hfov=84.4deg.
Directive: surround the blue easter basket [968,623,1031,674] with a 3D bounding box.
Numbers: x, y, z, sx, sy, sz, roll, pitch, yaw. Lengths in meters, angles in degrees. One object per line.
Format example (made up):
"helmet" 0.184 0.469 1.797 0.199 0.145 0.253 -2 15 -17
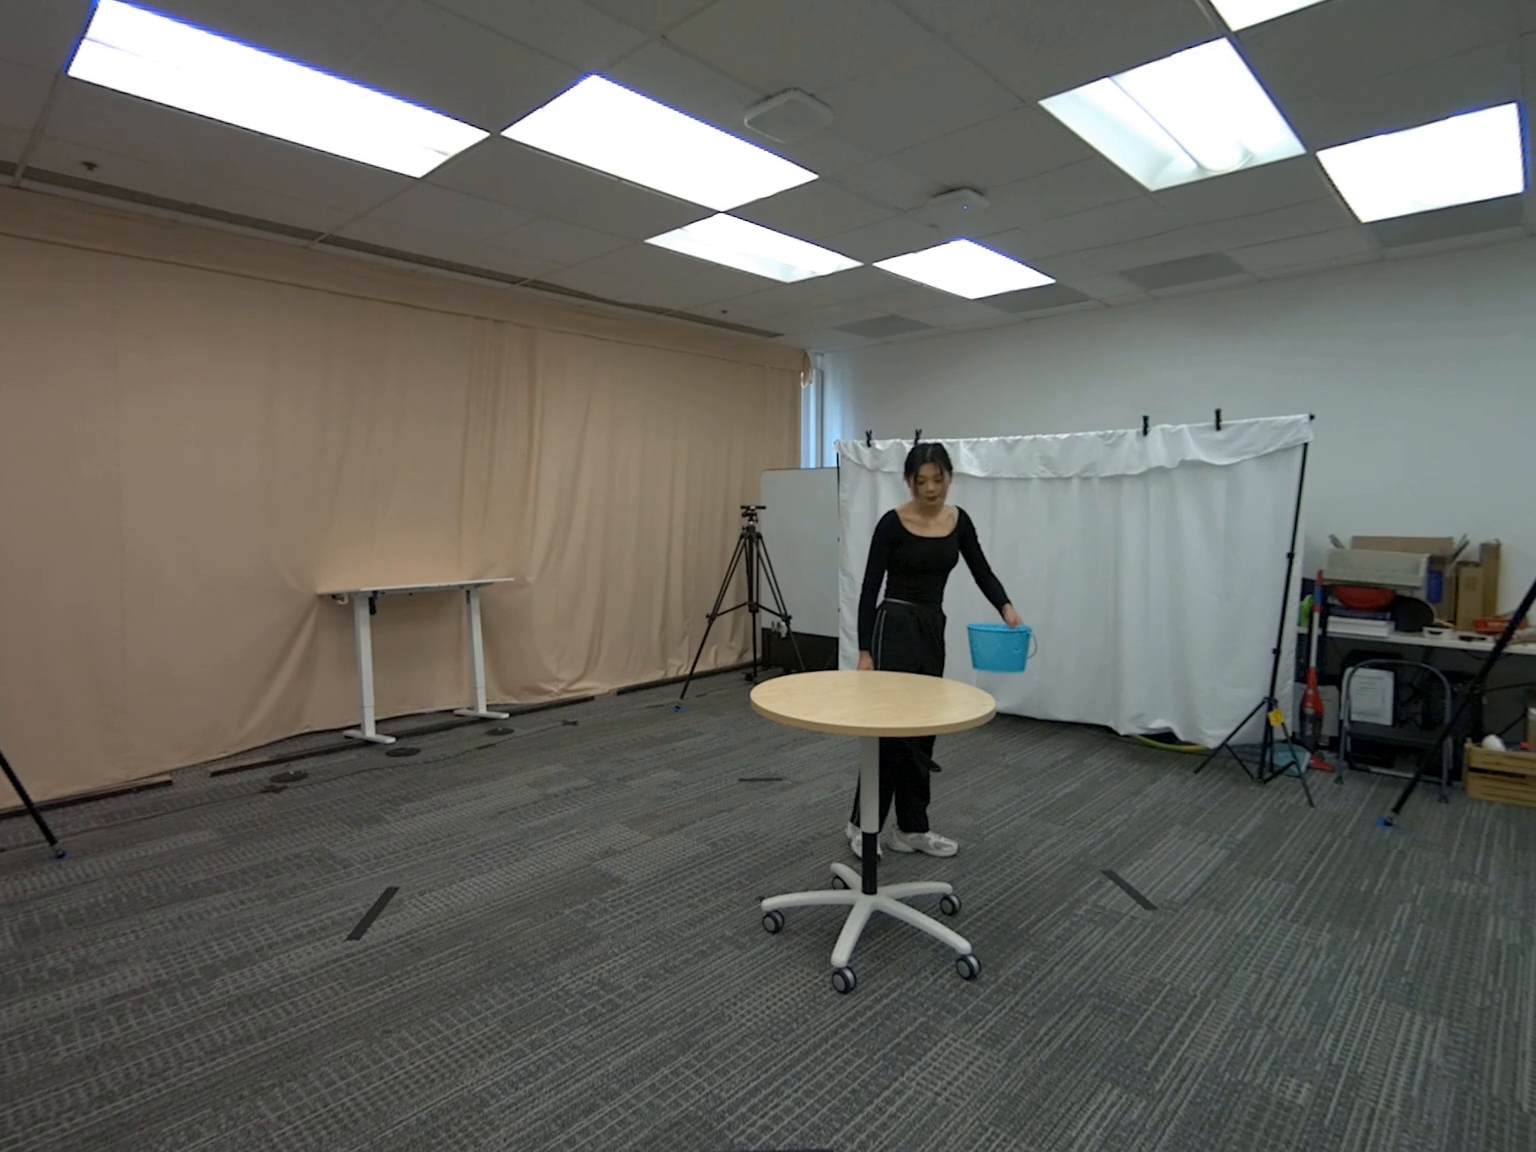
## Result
"blue easter basket" 0.836 0.257 3.025 0.243 0.156 0.244 0 2 -2
